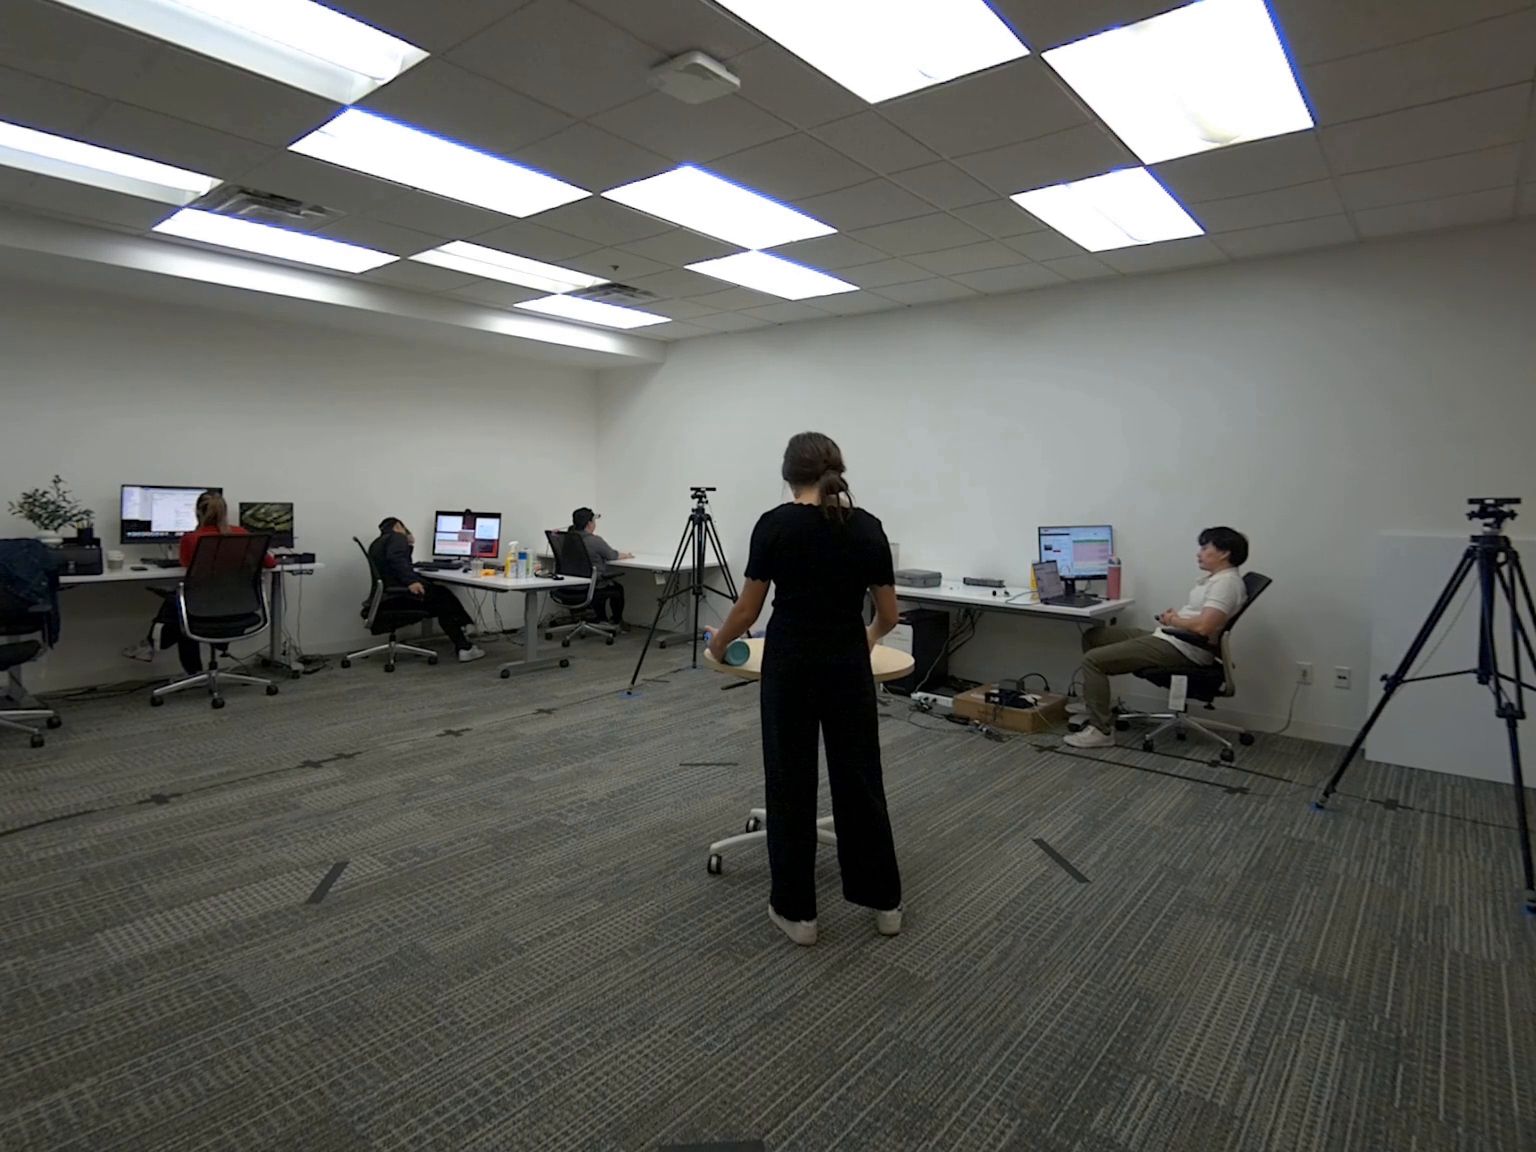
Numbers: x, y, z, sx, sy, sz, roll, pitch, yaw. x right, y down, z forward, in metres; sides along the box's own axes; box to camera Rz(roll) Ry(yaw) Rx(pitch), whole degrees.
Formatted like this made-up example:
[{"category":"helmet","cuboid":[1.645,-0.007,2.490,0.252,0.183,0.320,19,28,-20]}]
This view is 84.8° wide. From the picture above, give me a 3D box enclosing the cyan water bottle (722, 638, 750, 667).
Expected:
[{"category":"cyan water bottle","cuboid":[-0.147,0.249,3.020,0.090,0.092,0.289,0,2,-19]}]
